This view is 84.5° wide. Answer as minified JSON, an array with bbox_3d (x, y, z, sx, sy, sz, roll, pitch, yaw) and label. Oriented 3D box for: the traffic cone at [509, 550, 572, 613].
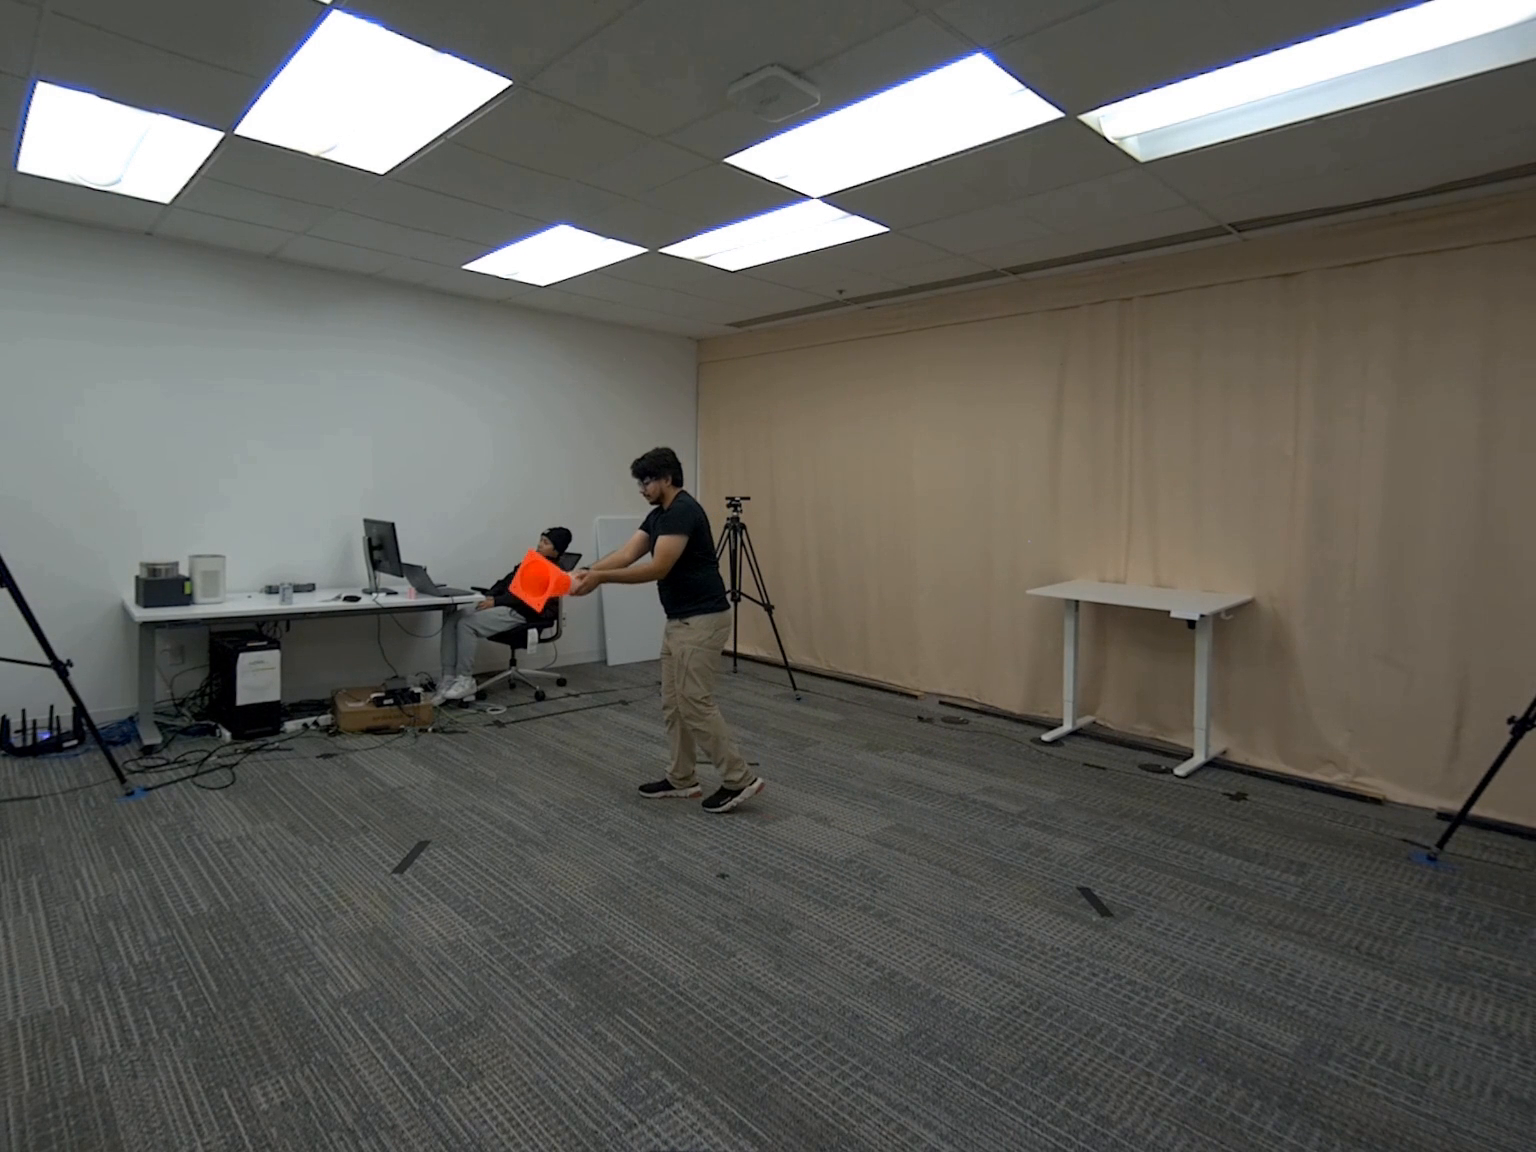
[{"bbox_3d":[-0.869,0.040,3.569,0.208,0.204,0.374,32,7,25],"label":"traffic cone"}]
